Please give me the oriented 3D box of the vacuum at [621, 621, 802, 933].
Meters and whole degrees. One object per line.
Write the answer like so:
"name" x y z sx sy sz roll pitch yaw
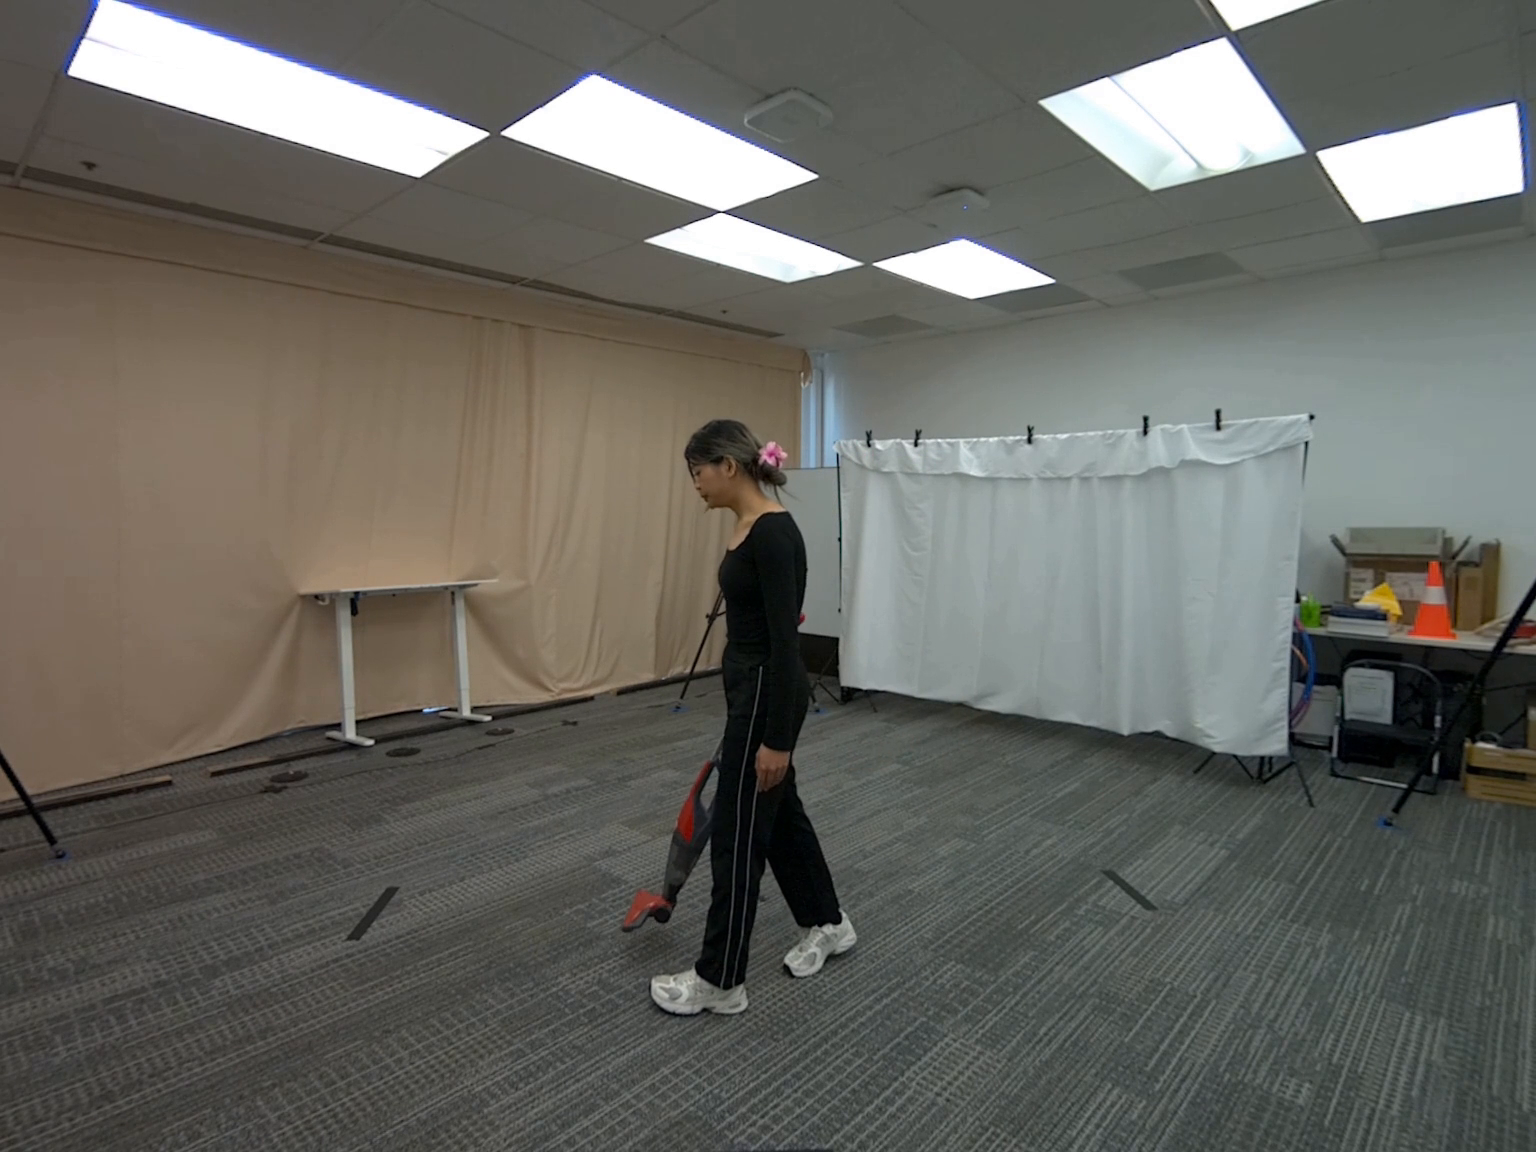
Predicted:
"vacuum" -0.145 0.599 2.625 0.145 1.049 0.251 27 4 5
